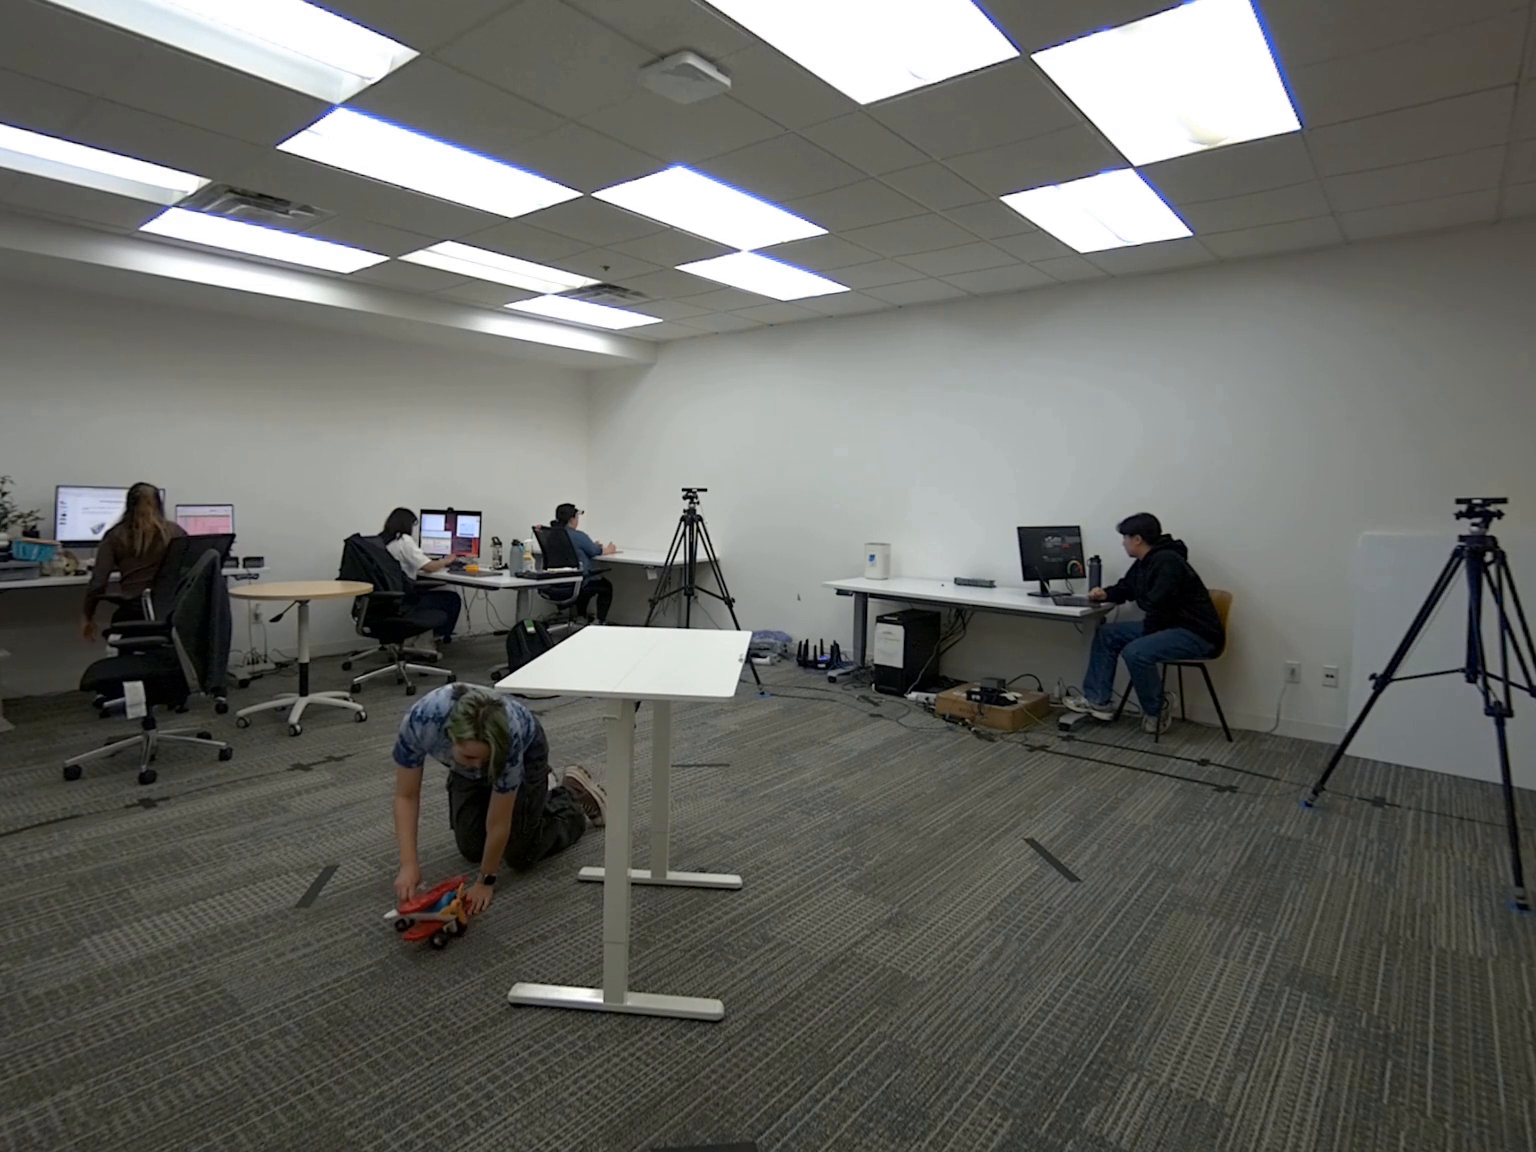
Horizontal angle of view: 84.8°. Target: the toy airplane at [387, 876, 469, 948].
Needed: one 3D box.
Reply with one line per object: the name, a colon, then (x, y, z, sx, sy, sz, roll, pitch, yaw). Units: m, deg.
toy airplane: (-1.073, 1.036, 2.603, 0.258, 0.156, 0.253, 1, 5, -5)
